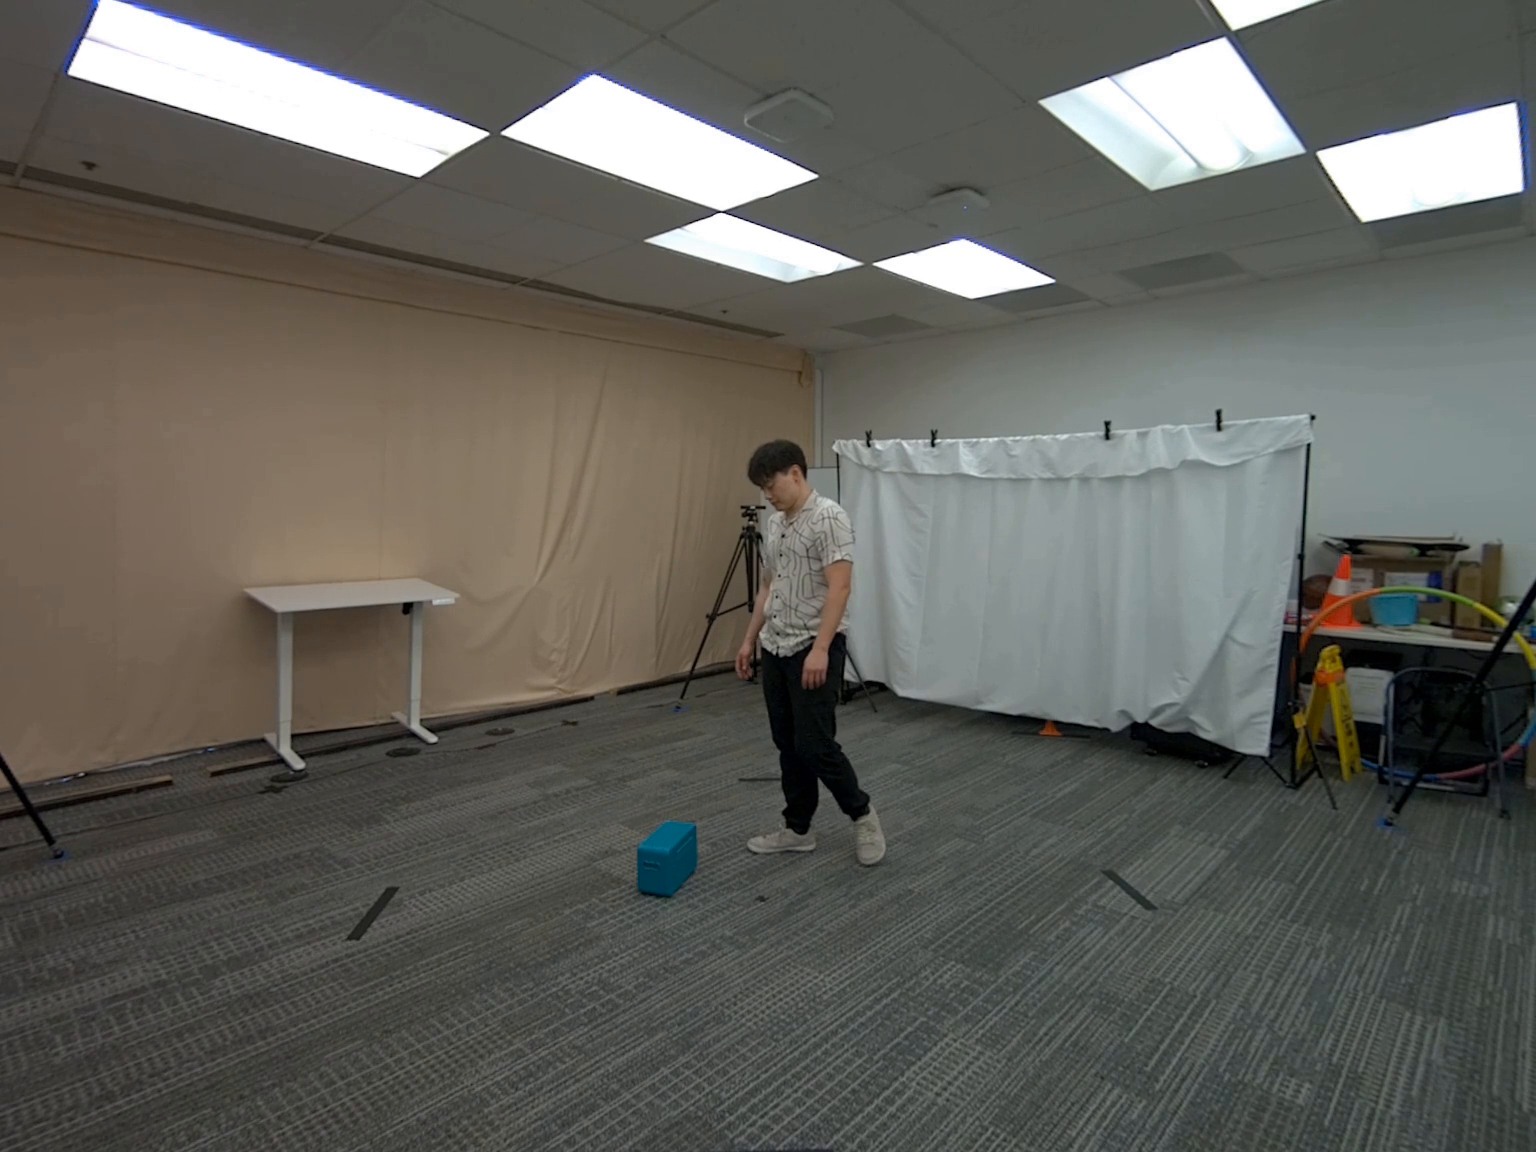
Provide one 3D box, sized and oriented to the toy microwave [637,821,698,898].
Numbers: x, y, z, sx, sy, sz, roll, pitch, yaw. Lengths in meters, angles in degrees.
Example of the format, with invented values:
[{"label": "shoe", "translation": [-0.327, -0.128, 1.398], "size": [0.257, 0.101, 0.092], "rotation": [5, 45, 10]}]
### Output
[{"label": "toy microwave", "translation": [-0.377, 1.043, 3.122], "size": [0.155, 0.184, 0.281], "rotation": [1, 4, 18]}]
